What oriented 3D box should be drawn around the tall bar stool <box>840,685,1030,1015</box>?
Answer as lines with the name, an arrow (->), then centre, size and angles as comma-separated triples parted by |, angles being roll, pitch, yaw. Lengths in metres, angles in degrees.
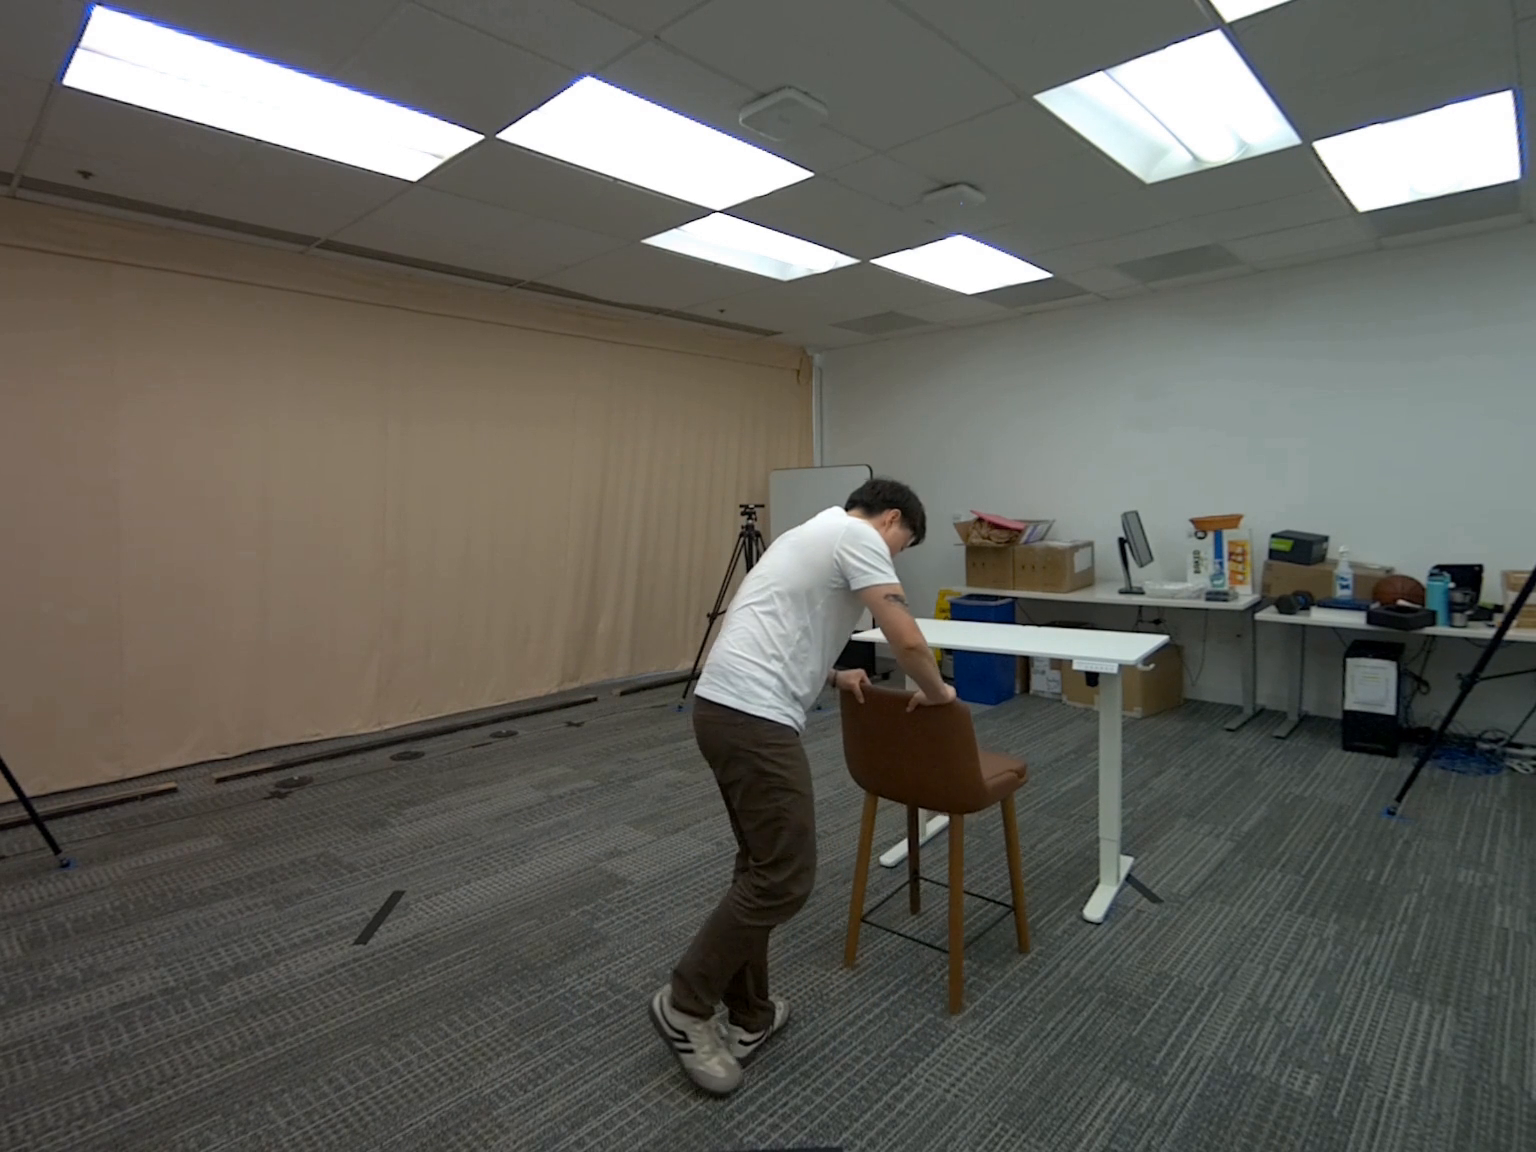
tall bar stool -> 0.502, 0.730, 2.536 | 0.471, 0.887, 0.454 | 2, 7, 41
